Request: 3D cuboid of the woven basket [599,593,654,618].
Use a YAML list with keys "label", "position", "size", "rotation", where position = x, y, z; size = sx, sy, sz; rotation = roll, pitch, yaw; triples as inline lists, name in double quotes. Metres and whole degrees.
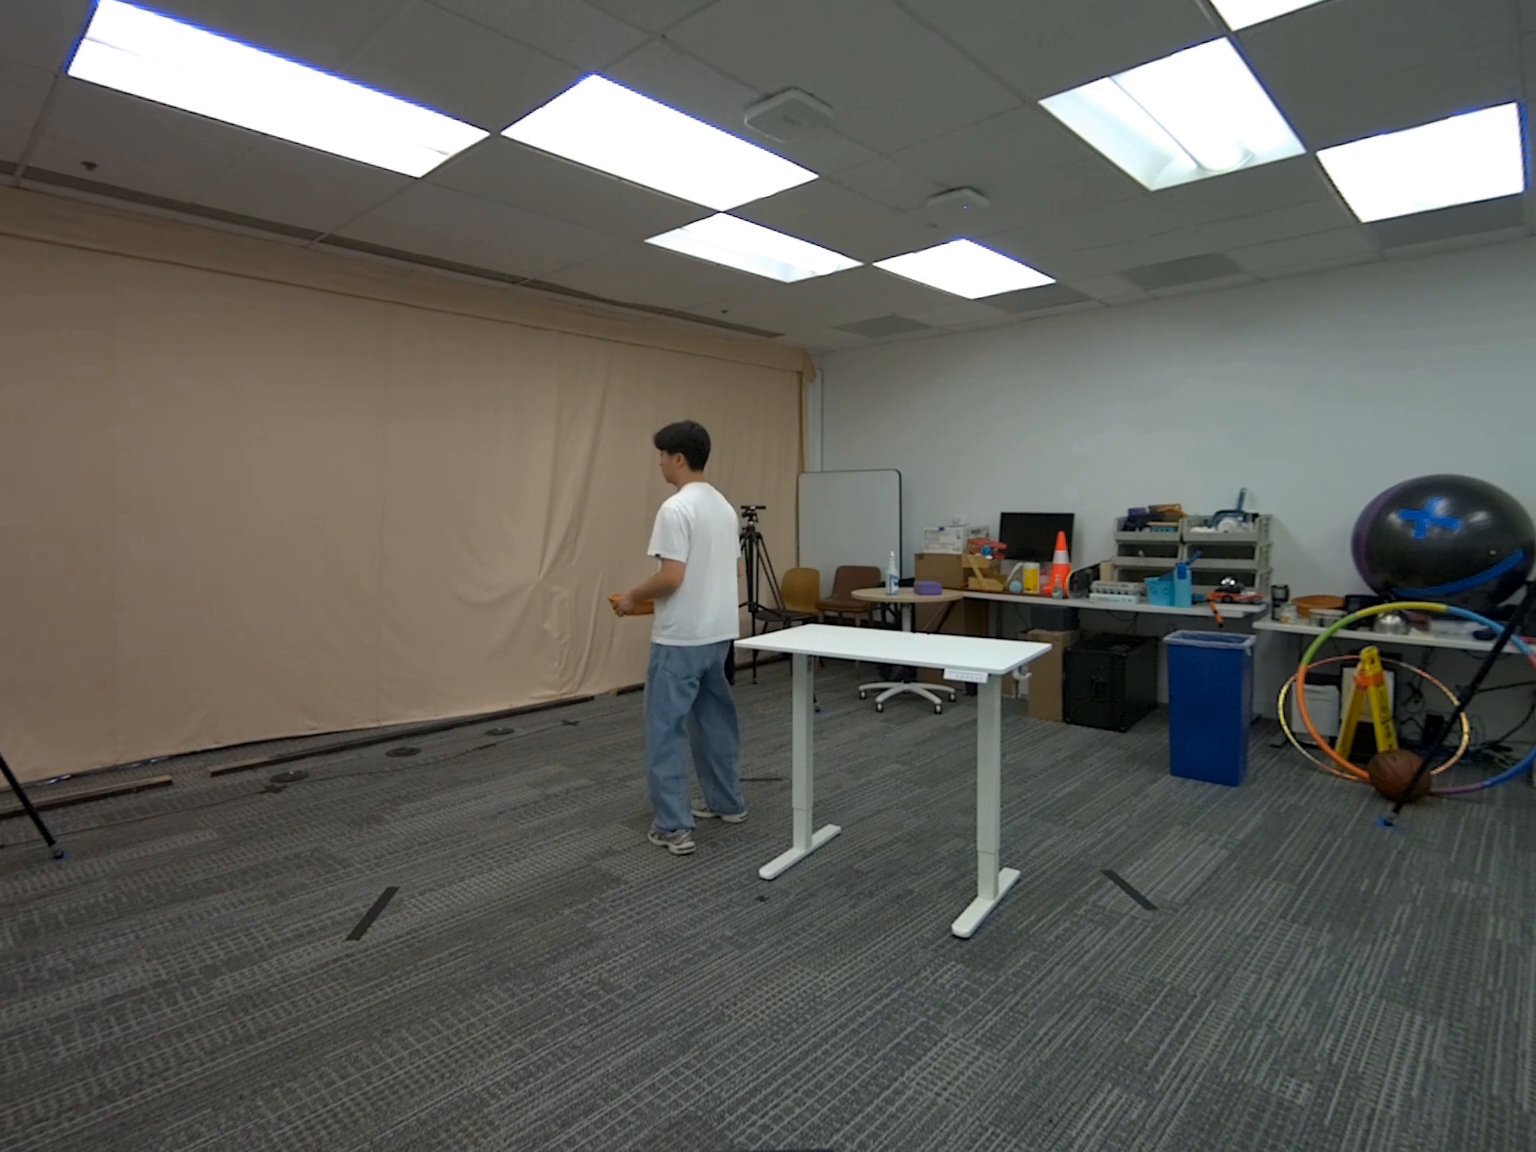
- label: "woven basket"
  position: [-0.516, 0.117, 3.683]
  size: [0.261, 0.073, 0.340]
  rotation: [4, 6, 43]
